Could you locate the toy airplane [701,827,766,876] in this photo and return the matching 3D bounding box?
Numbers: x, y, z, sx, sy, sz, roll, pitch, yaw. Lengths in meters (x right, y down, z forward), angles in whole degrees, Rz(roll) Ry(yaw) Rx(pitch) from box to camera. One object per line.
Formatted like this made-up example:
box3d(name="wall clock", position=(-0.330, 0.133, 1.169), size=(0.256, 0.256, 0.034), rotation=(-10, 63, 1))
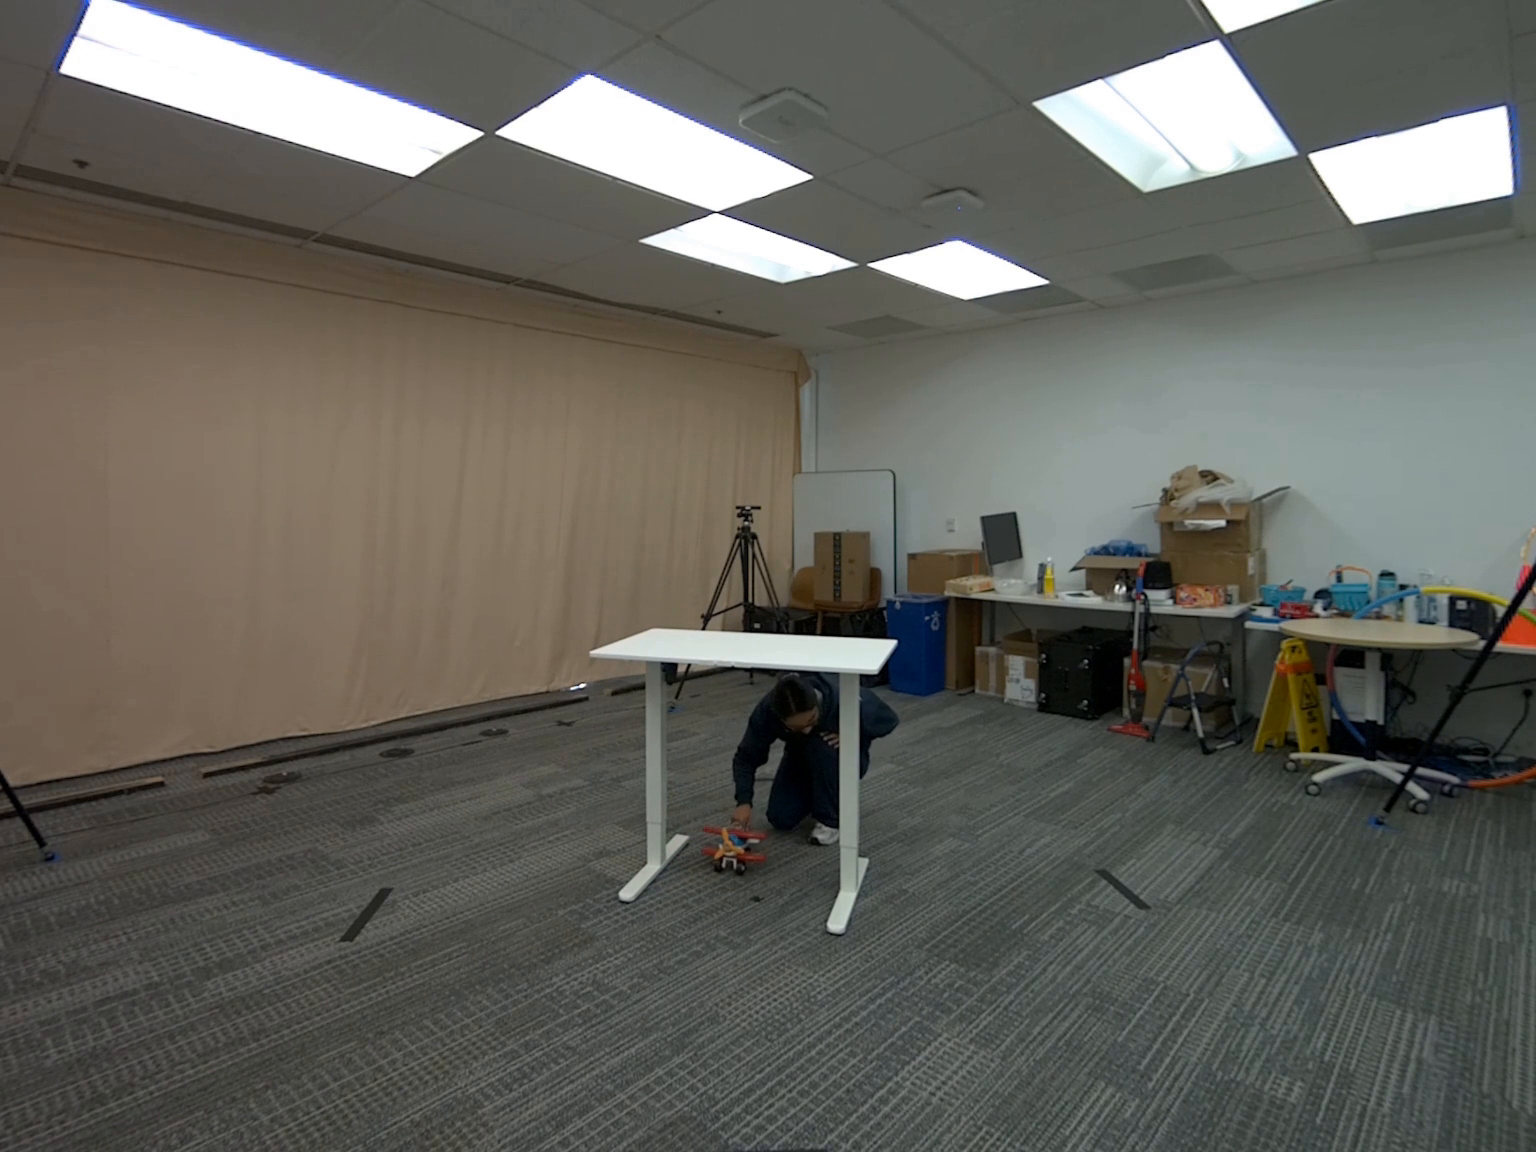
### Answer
box3d(name="toy airplane", position=(-0.116, 1.044, 3.271), size=(0.248, 0.156, 0.263), rotation=(0, 6, -12))
